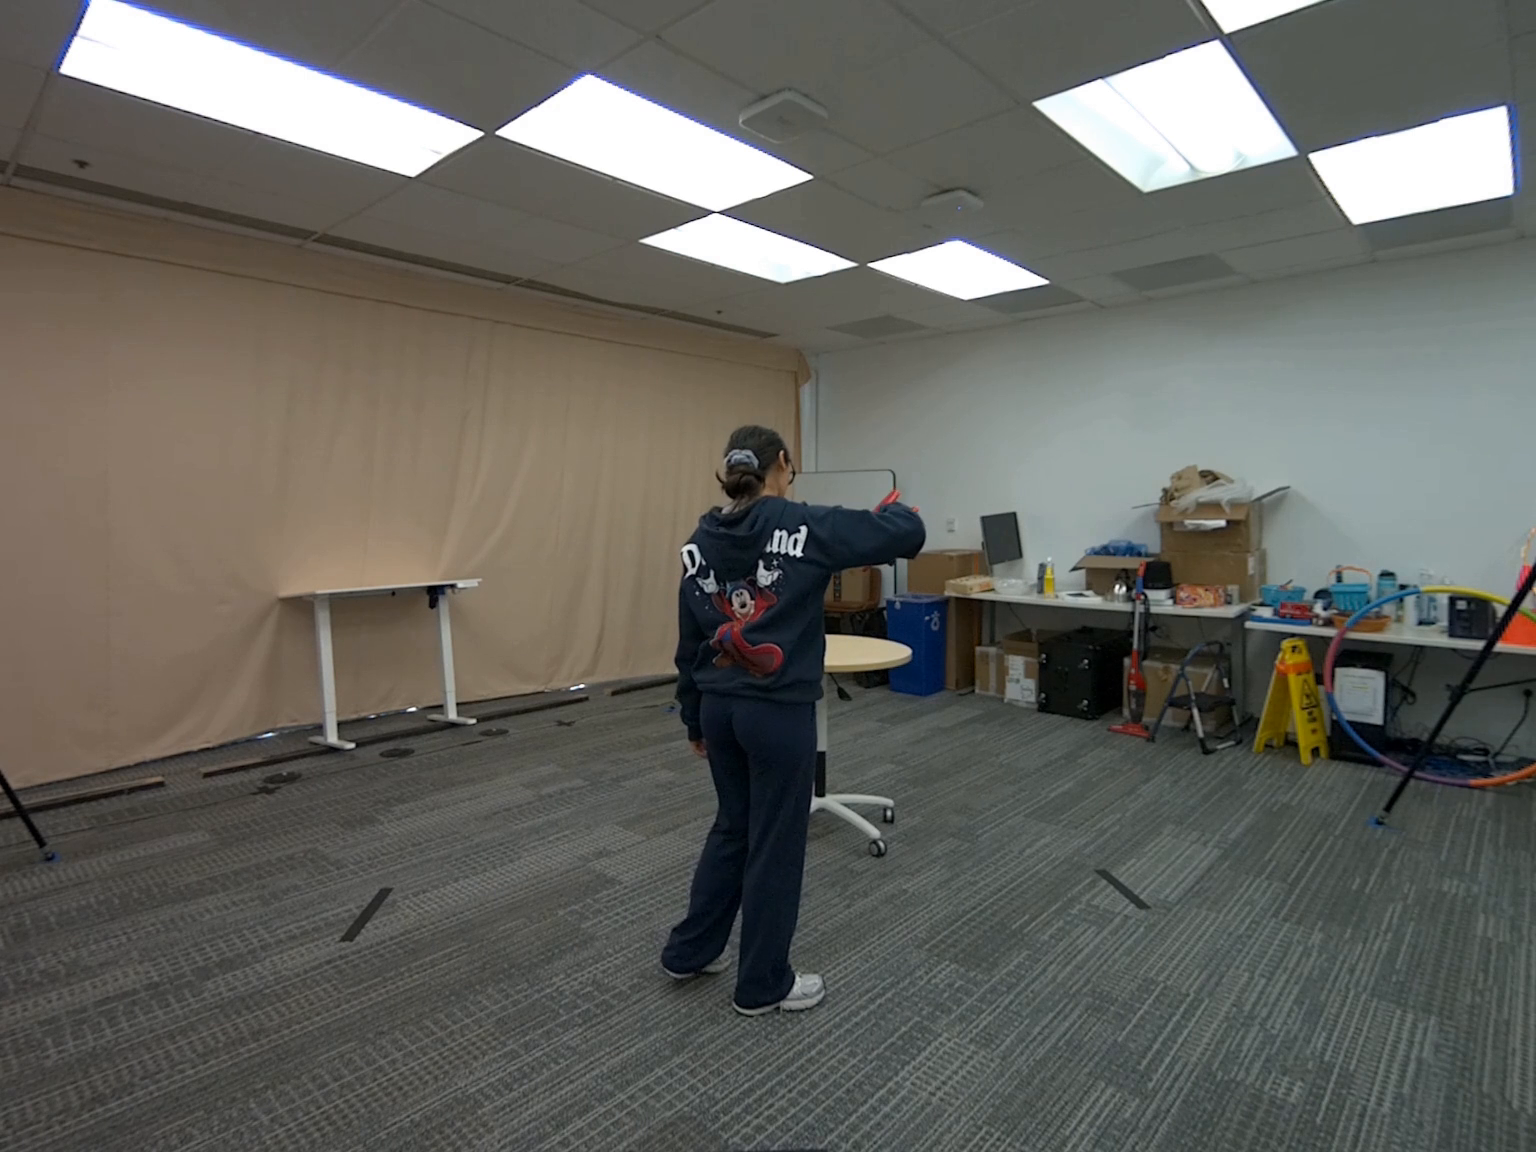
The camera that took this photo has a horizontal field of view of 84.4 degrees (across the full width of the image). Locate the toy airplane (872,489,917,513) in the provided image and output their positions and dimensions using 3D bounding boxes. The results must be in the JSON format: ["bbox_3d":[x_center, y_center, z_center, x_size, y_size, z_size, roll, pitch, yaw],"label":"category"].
[{"bbox_3d":[0.380,-0.147,2.499,0.249,0.158,0.258,-45,-10,-25],"label":"toy airplane"}]
